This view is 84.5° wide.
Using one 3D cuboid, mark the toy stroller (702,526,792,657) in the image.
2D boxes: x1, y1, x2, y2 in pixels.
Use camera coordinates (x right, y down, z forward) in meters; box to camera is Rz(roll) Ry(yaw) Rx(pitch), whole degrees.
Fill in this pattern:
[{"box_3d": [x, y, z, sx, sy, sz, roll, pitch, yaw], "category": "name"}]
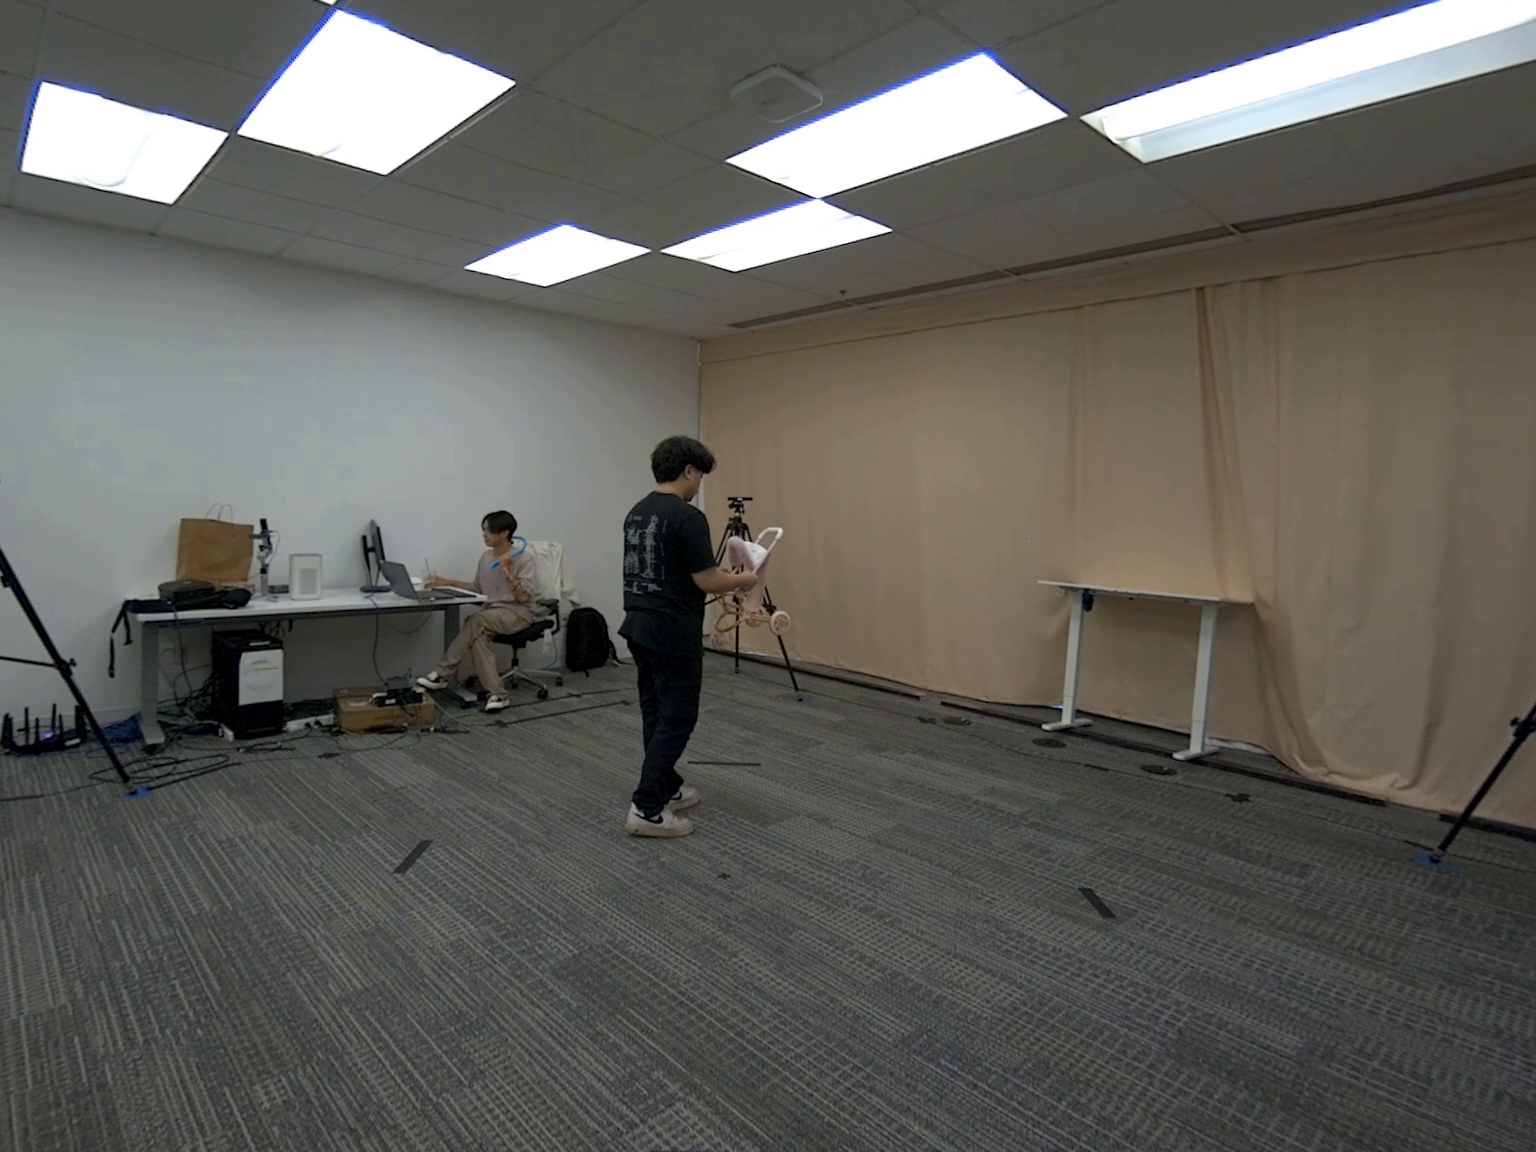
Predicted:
[{"box_3d": [-0.113, 0.057, 3.850, 0.336, 0.532, 0.287, -3, 6, -21], "category": "toy stroller"}]
